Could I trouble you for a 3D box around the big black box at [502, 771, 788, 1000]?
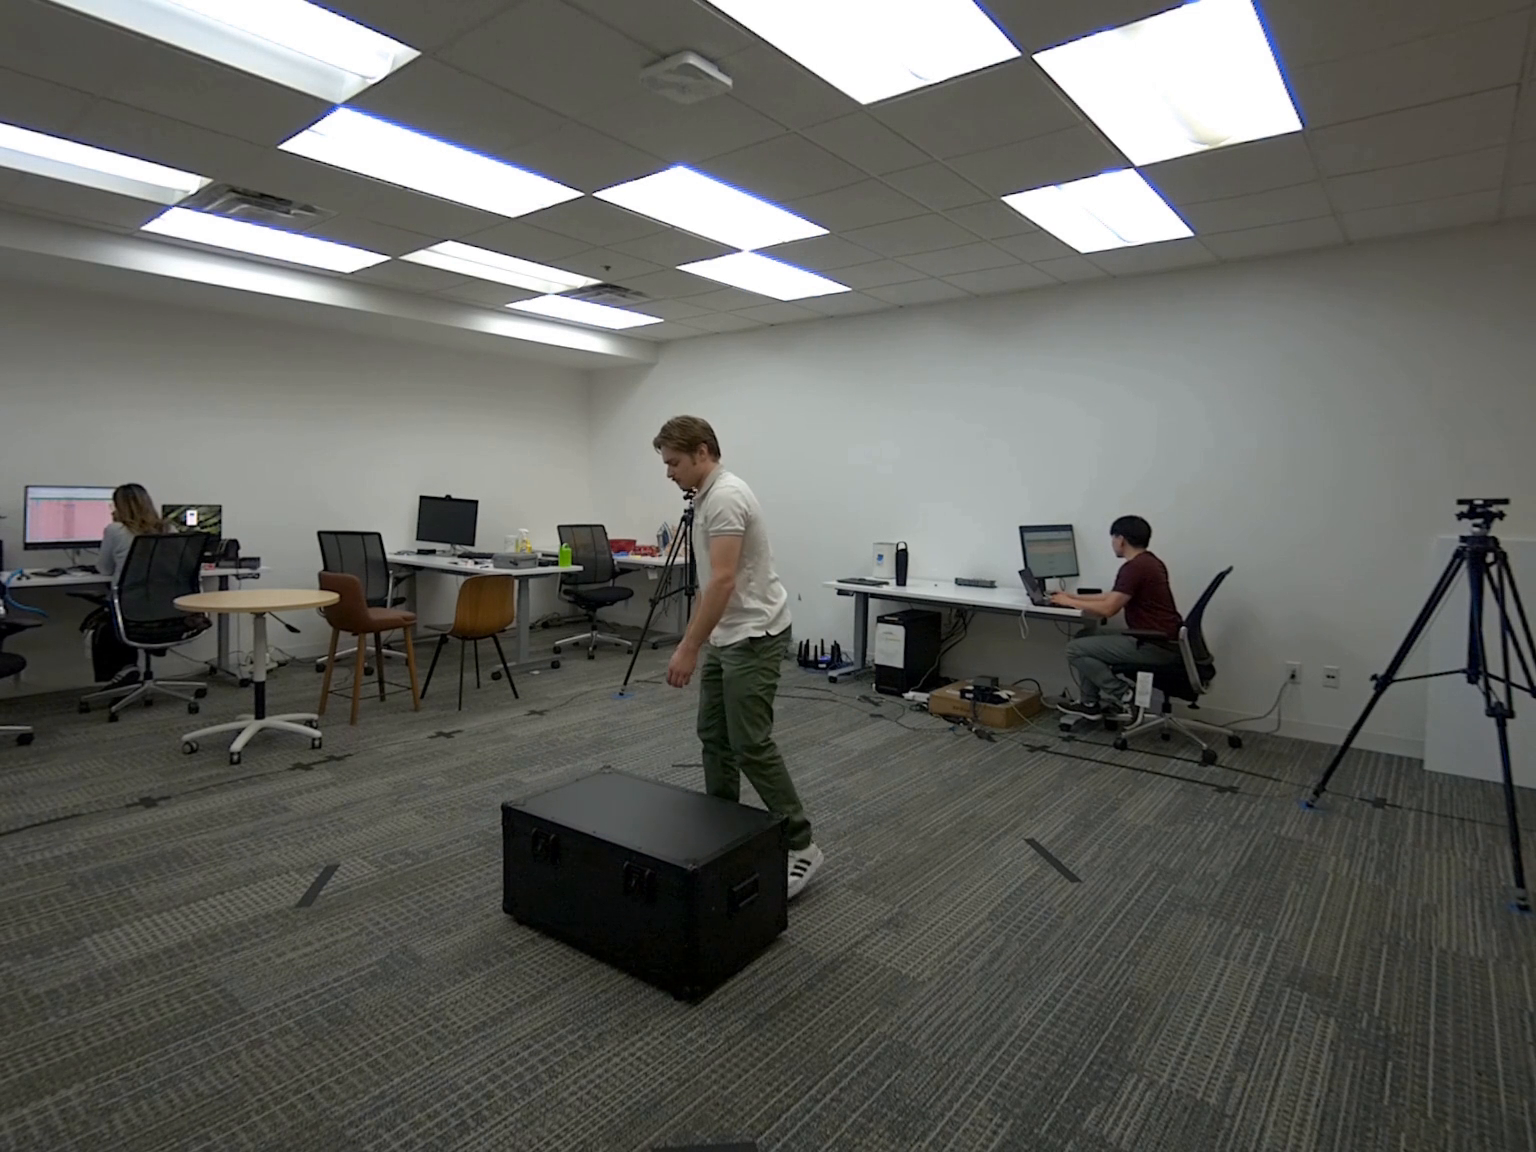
[{"bbox_3d":[-0.430,0.909,2.702,0.896,0.383,0.509,4,7,35],"label":"big black box"}]
